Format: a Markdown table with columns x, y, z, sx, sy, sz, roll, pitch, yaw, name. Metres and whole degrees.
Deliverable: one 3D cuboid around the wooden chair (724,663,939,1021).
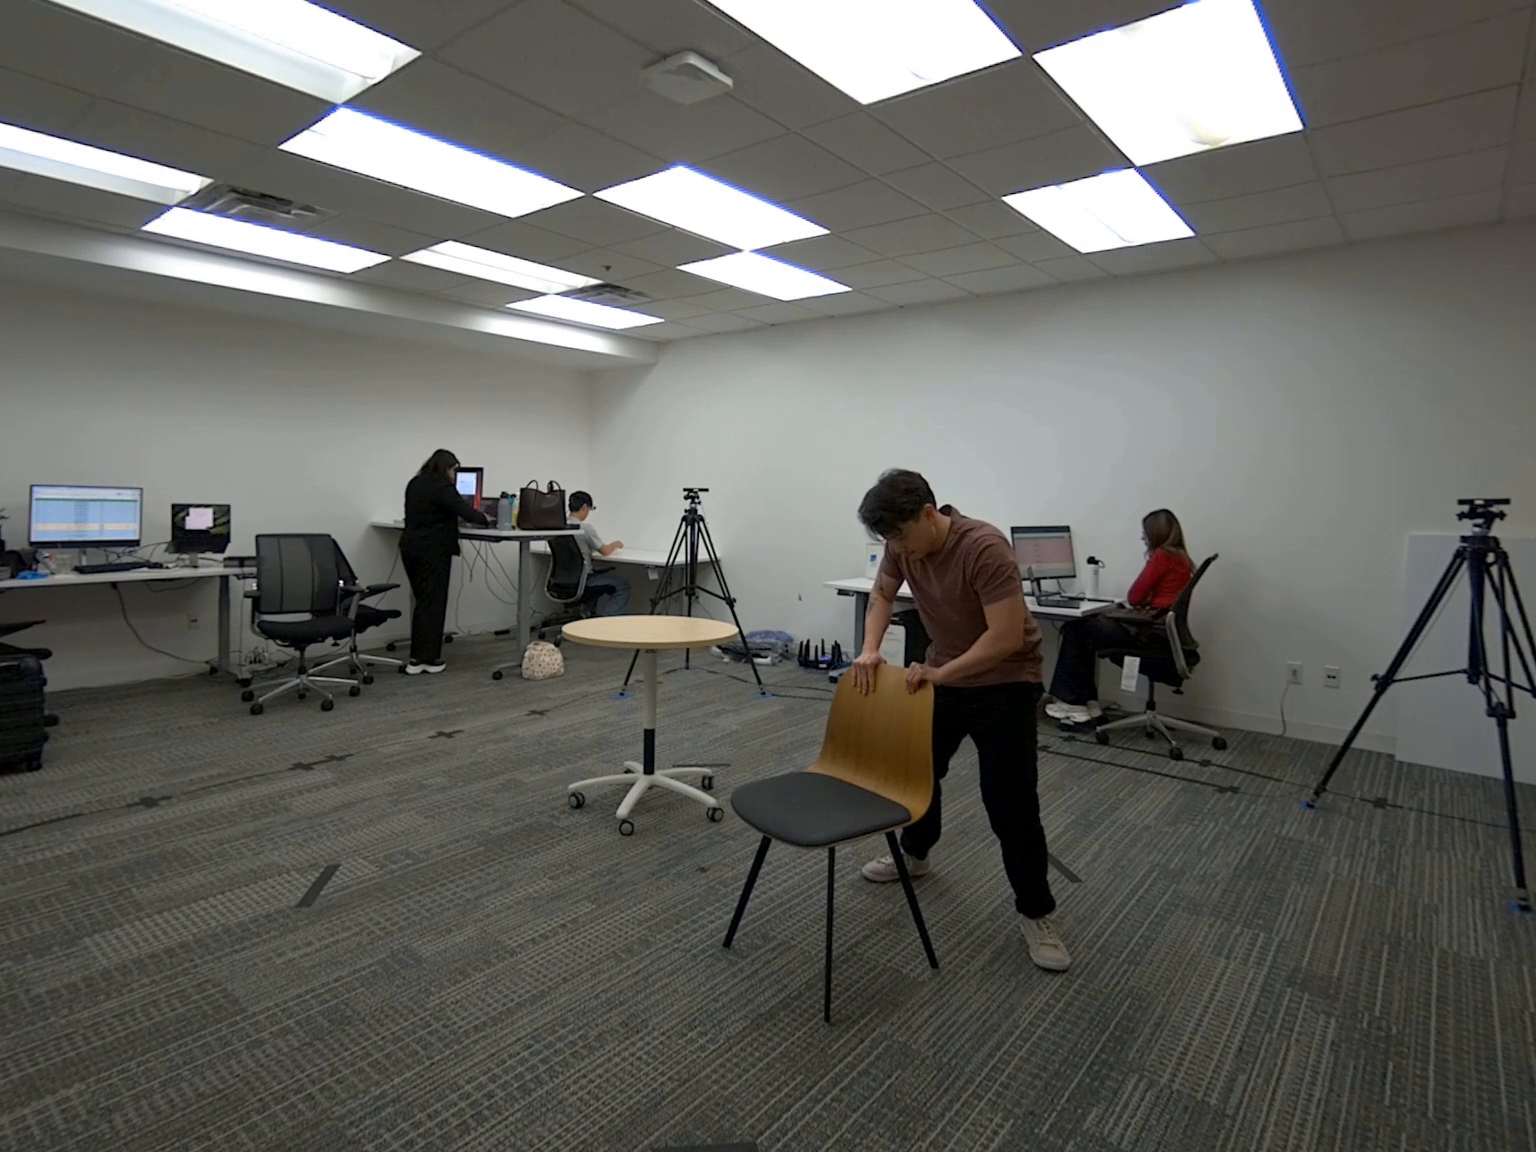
| x | y | z | sx | sy | sz | roll | pitch | yaw | name |
| --- | --- | --- | --- | --- | --- | --- | --- | --- | --- |
| 0.175 | 0.710 | 2.508 | 0.506 | 0.877 | 0.494 | 5 | 1 | -39 | wooden chair |
